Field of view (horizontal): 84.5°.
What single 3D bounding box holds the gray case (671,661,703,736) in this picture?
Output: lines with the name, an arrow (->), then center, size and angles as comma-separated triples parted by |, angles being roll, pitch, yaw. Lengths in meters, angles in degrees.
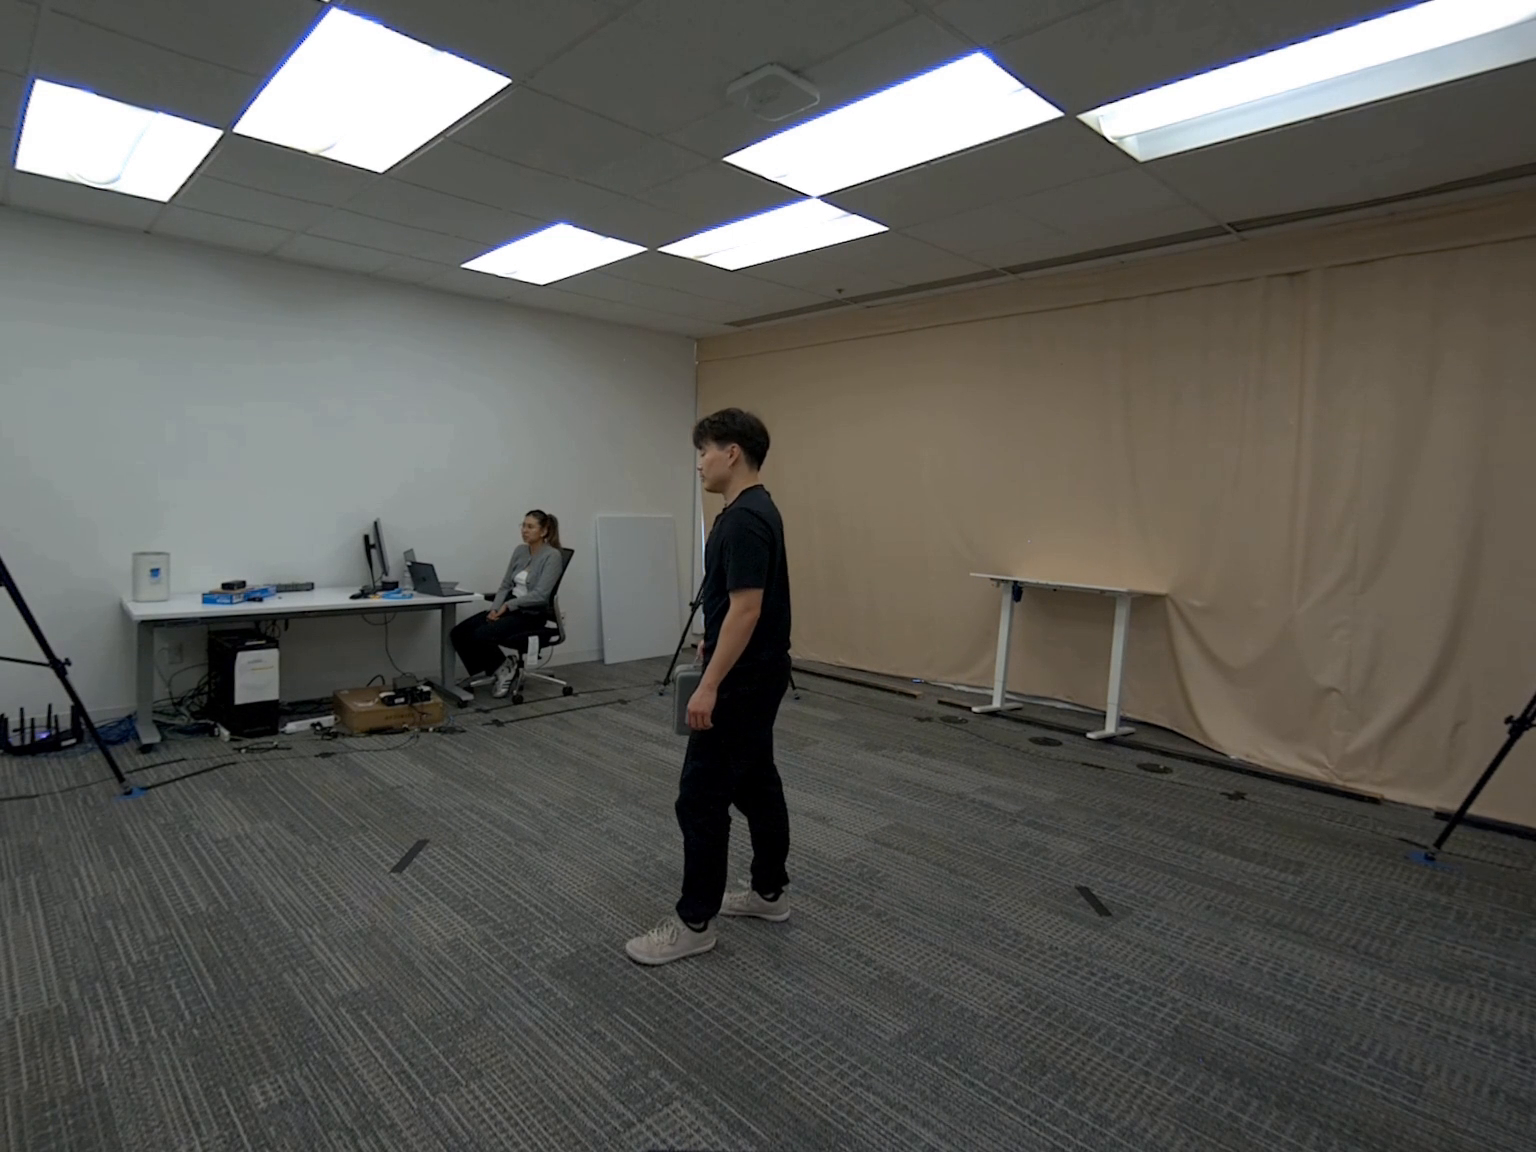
gray case -> -0.224, 0.449, 3.066 | 0.255, 0.258, 0.106 | 2, 13, -8
